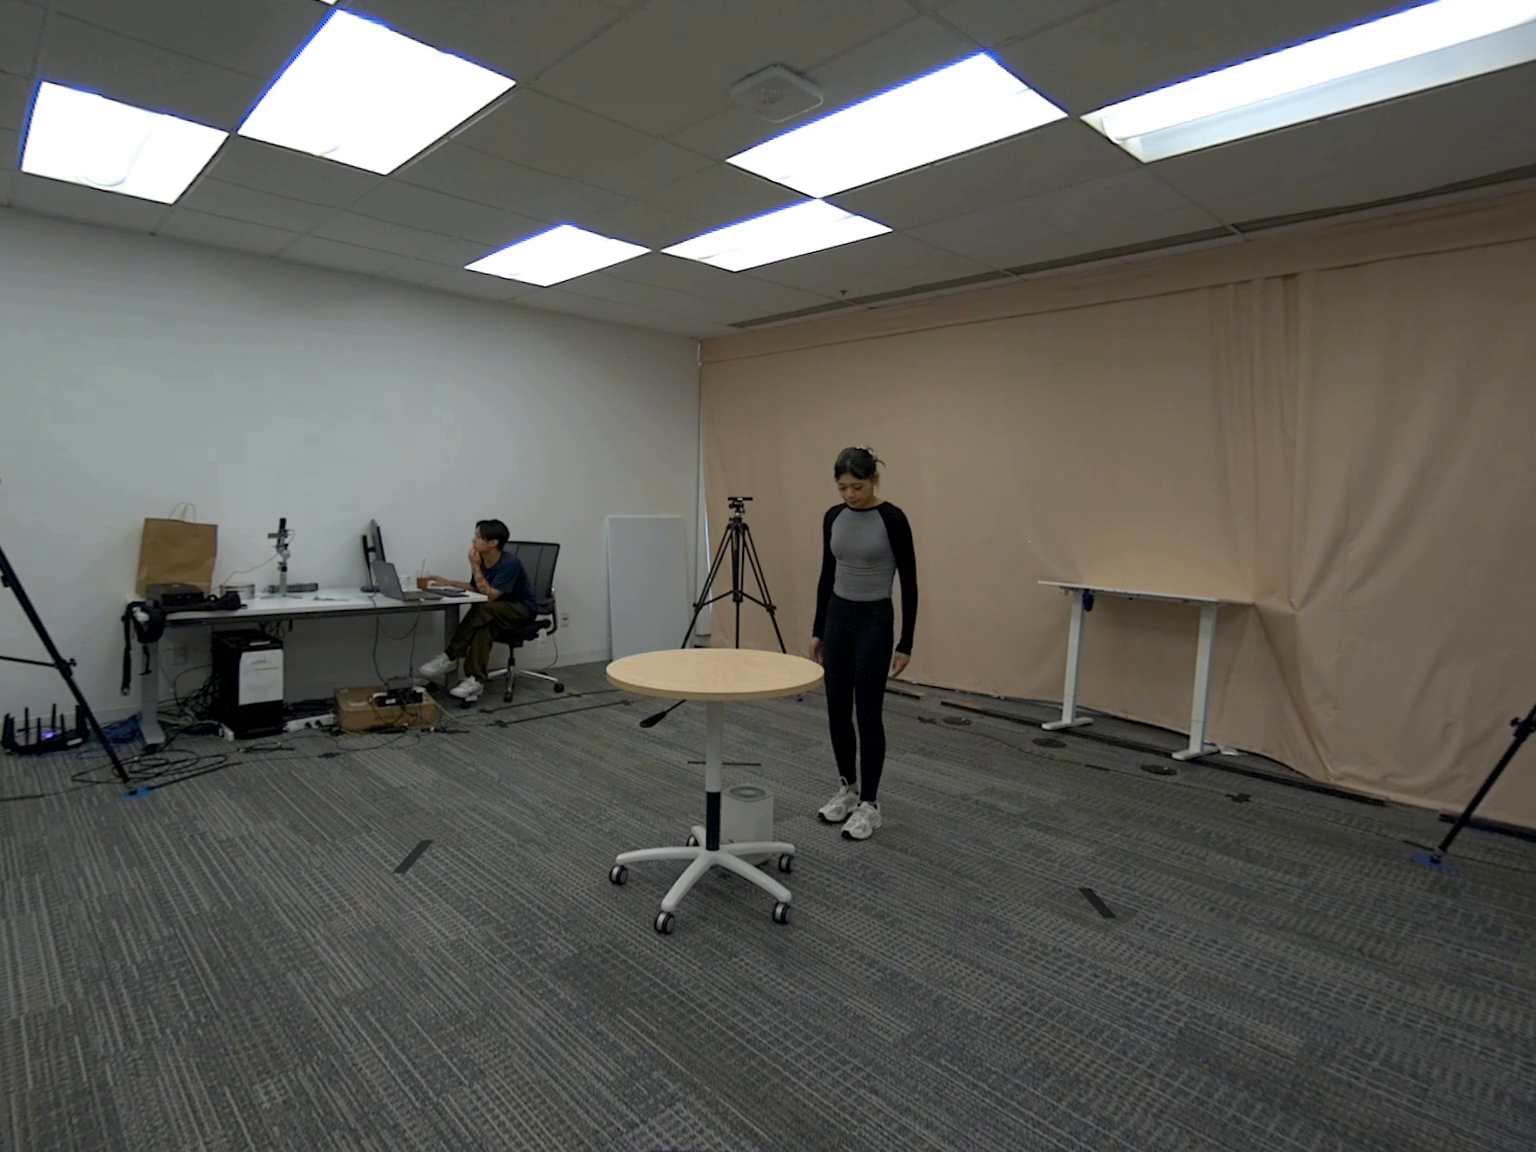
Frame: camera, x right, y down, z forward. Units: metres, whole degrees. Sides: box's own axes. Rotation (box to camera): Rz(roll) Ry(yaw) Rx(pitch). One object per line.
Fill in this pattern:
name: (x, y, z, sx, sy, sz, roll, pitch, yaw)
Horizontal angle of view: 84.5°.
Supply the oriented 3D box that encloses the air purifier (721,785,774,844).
air purifier: (-0.088, 0.962, 3.252, 0.175, 0.265, 0.168, 4, 5, 41)
